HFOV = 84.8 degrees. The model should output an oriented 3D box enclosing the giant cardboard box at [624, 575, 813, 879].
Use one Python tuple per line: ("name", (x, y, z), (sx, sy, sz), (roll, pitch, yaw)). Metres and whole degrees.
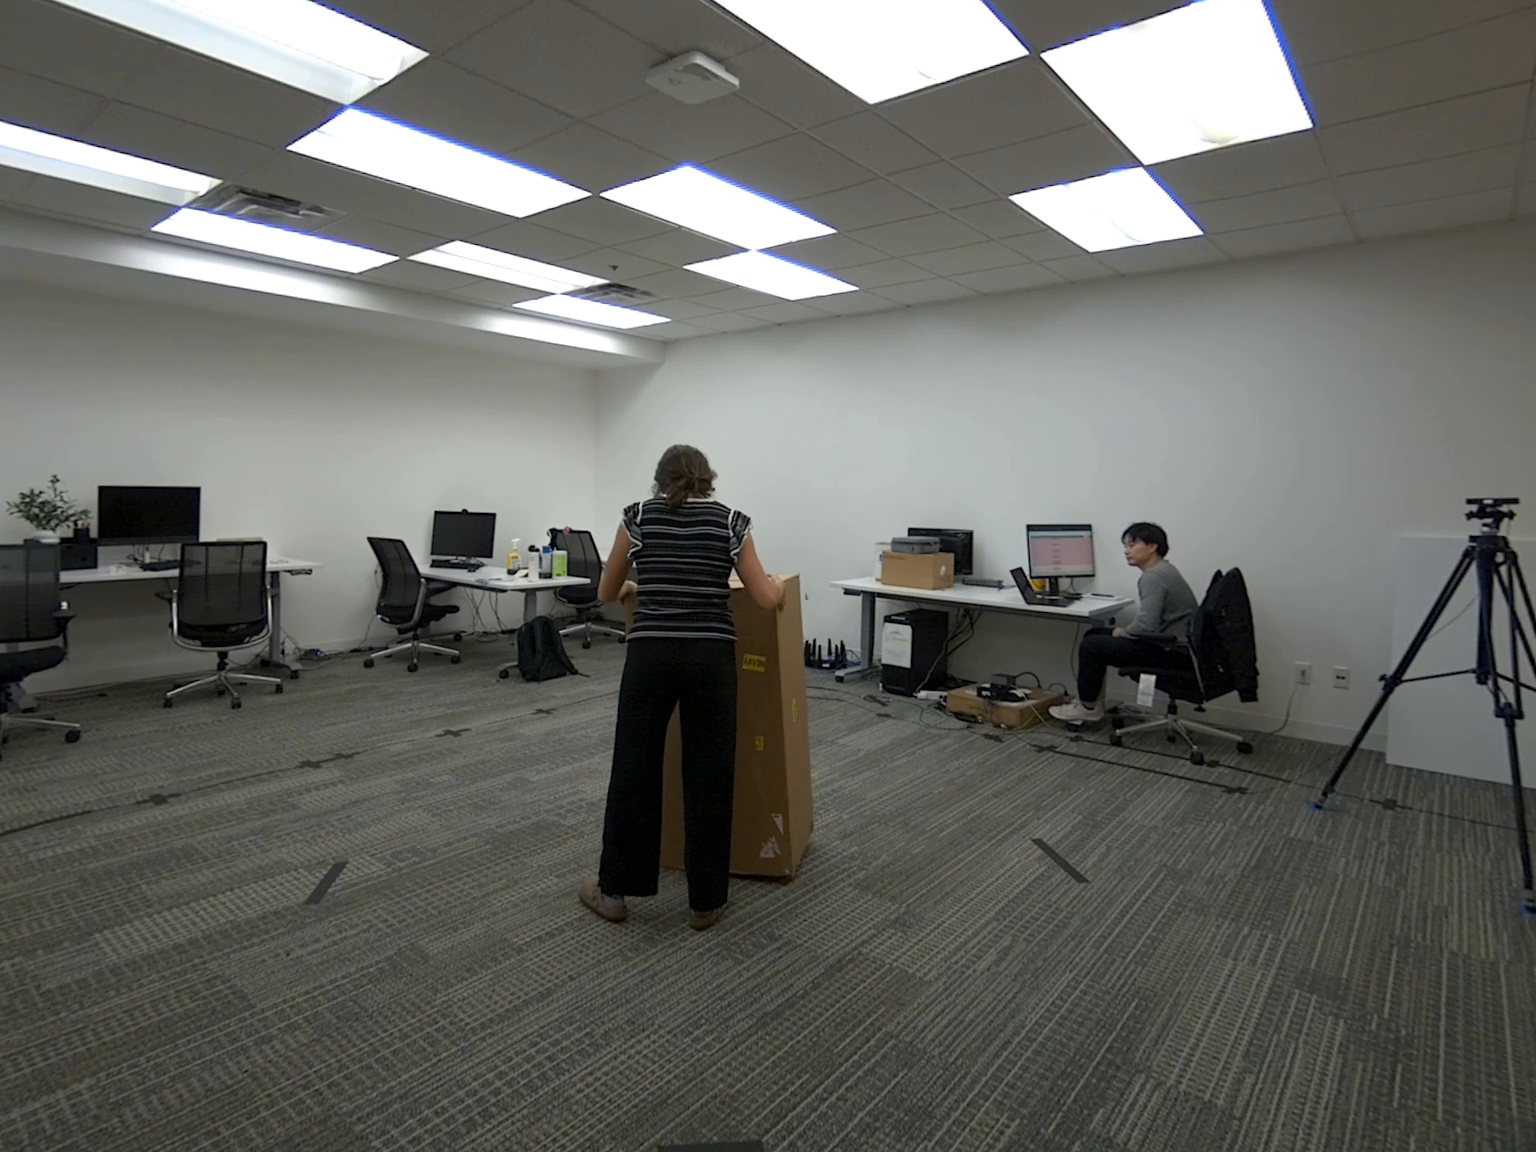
("giant cardboard box", (-0.180, 0.533, 3.236), (0.587, 1.023, 0.420), (-3, 3, 17))
